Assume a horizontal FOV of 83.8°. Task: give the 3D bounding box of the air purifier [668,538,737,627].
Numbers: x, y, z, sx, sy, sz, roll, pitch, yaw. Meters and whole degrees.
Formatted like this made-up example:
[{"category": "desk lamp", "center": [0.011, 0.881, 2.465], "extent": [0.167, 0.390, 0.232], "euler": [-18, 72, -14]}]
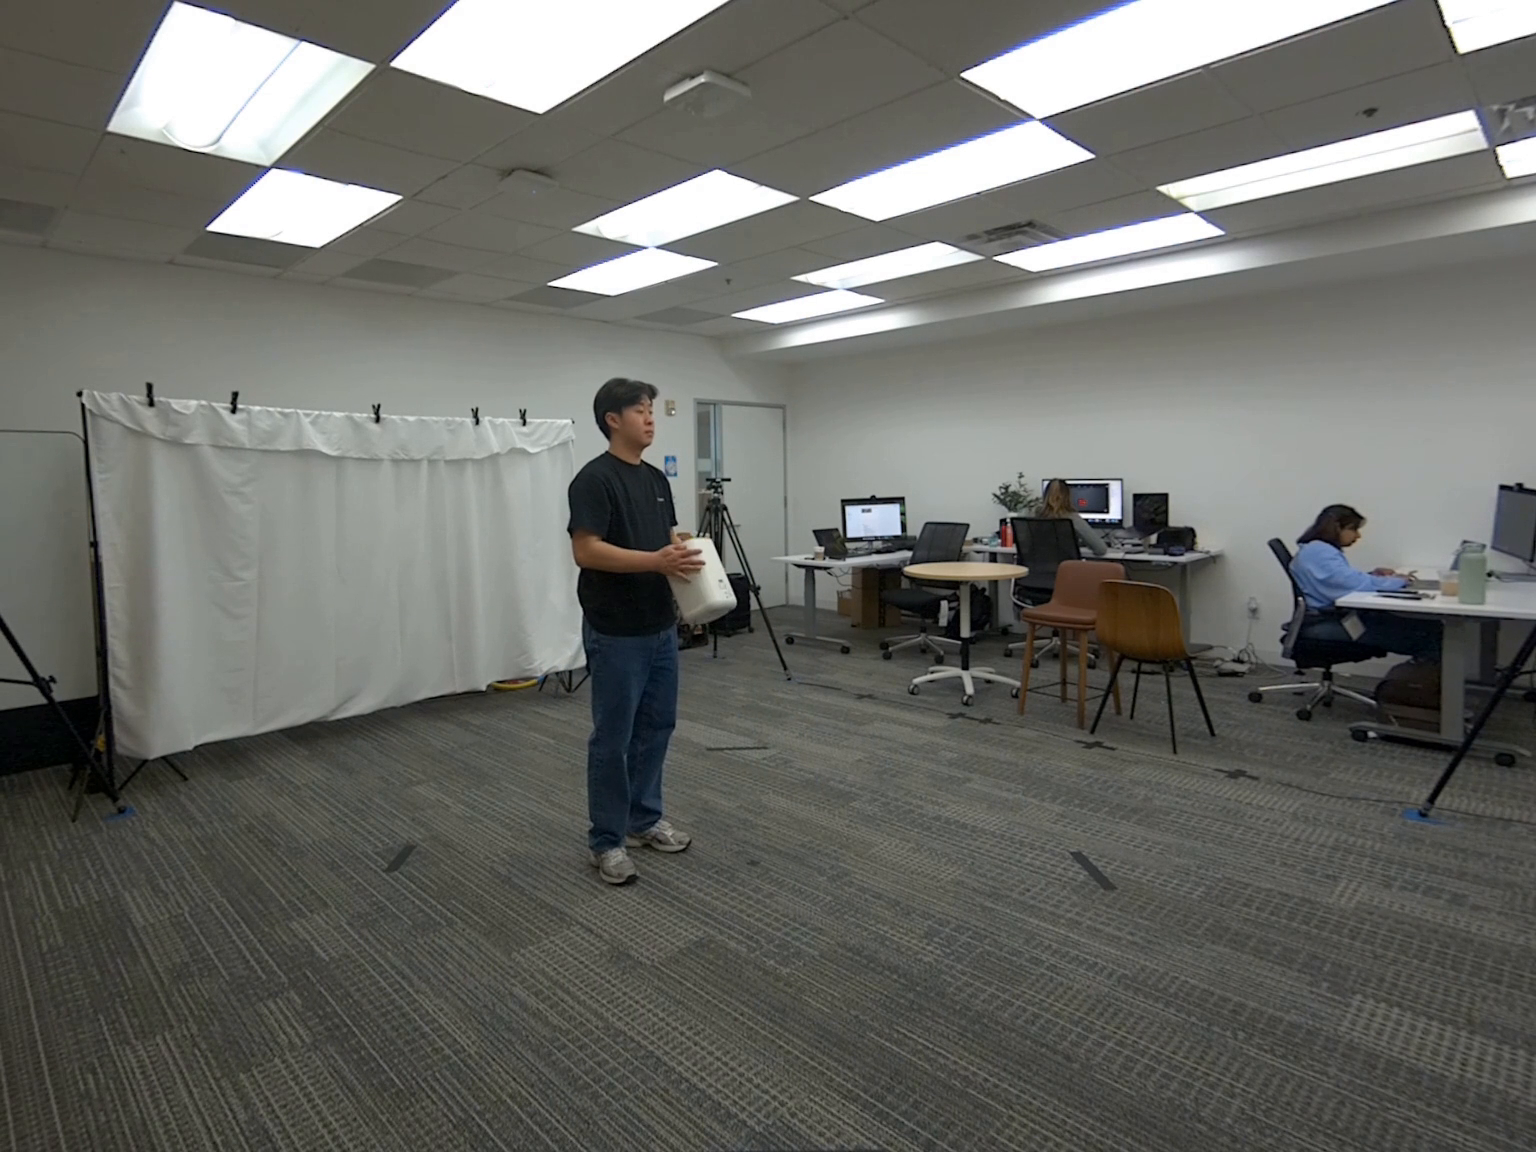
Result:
[{"category": "air purifier", "center": [-0.241, 0.019, 2.996], "extent": [0.173, 0.271, 0.166], "euler": [-32, -19, 29]}]
